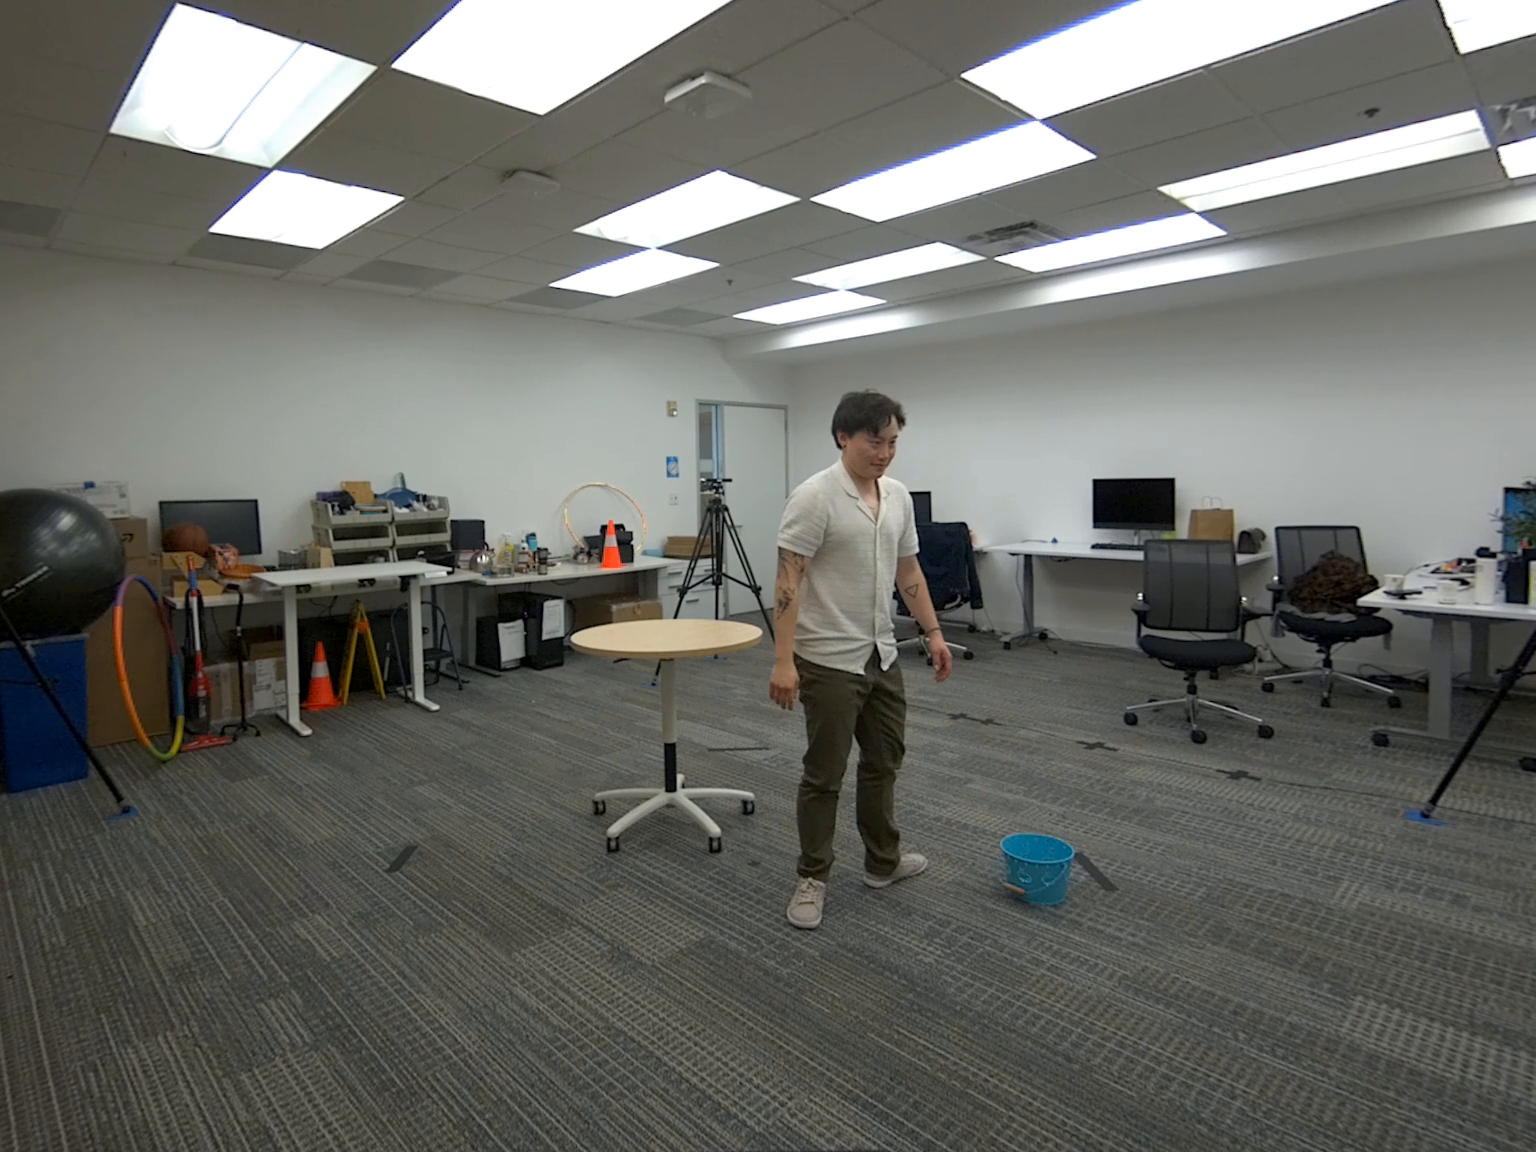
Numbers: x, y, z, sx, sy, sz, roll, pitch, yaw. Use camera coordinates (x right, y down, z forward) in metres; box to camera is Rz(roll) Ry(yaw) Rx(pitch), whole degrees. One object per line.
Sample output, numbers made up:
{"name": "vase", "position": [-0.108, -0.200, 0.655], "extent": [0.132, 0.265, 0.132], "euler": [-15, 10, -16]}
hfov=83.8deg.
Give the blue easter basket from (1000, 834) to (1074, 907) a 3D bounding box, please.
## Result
{"name": "blue easter basket", "position": [0.891, 0.974, 2.851], "extent": [0.243, 0.155, 0.245], "euler": [-2, 5, -2]}
